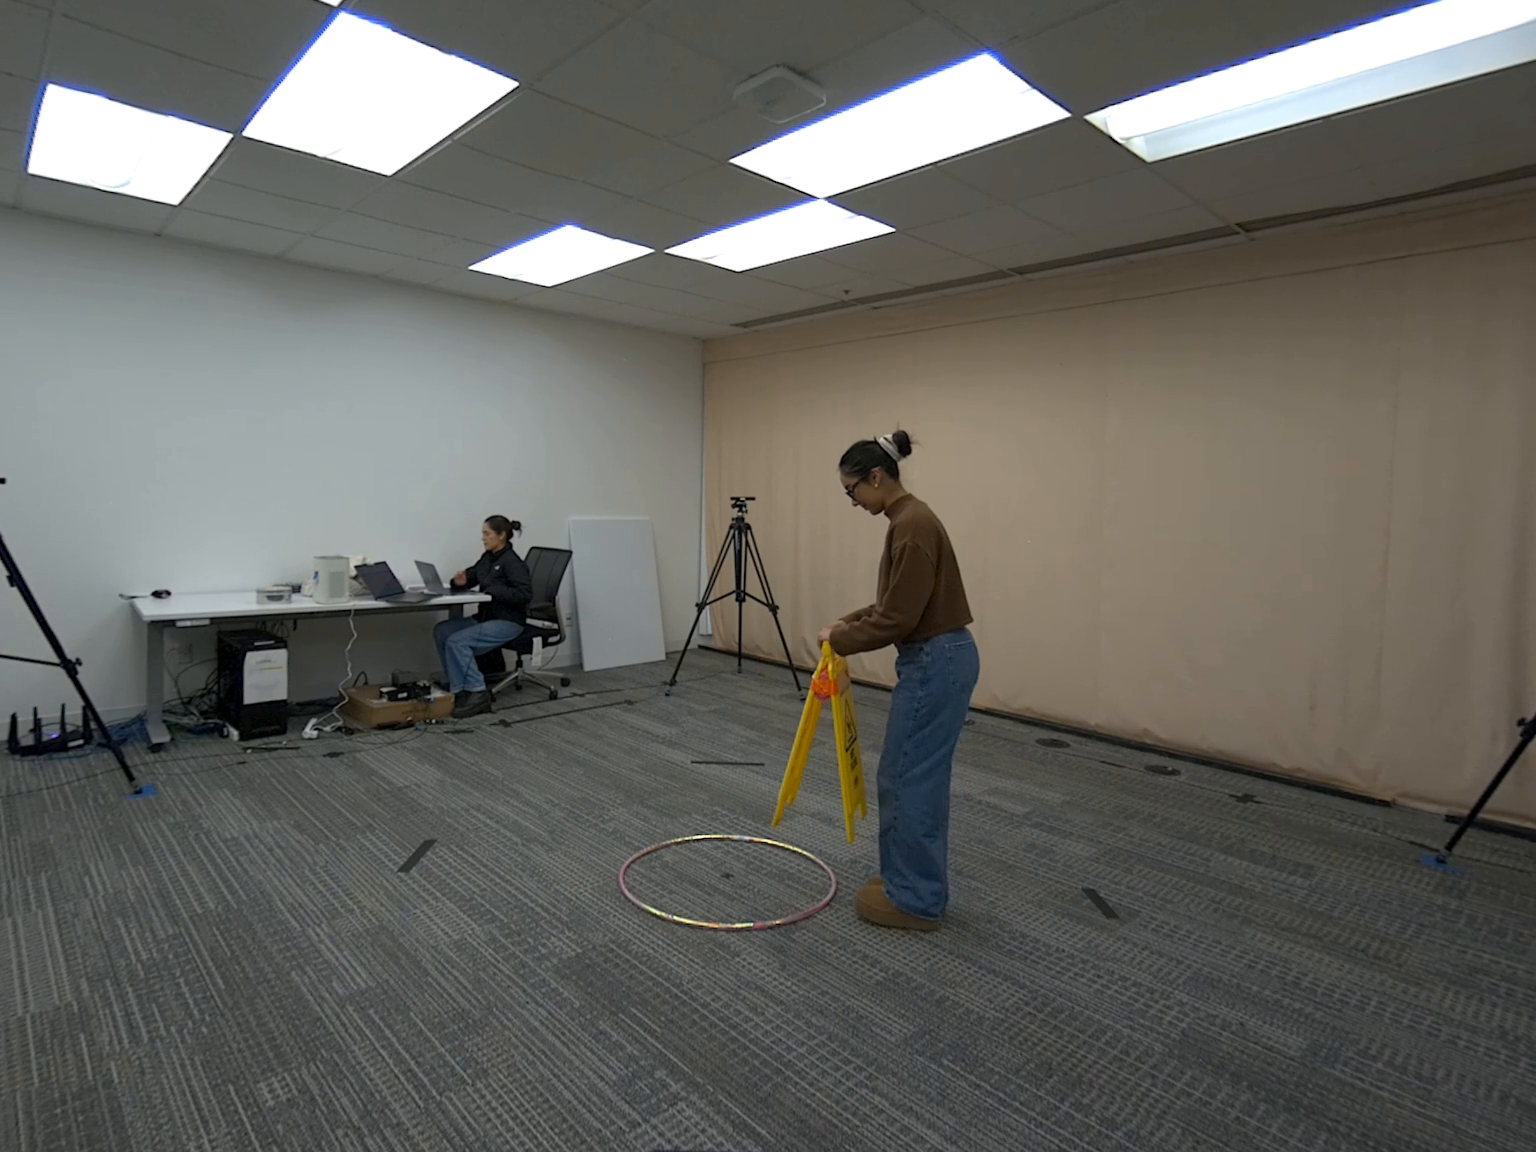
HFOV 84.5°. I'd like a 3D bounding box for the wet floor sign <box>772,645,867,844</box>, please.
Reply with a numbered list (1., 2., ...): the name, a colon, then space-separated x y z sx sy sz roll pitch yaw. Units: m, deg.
1. wet floor sign: 0.195 0.523 2.860 0.294 0.644 0.279 4 4 17
